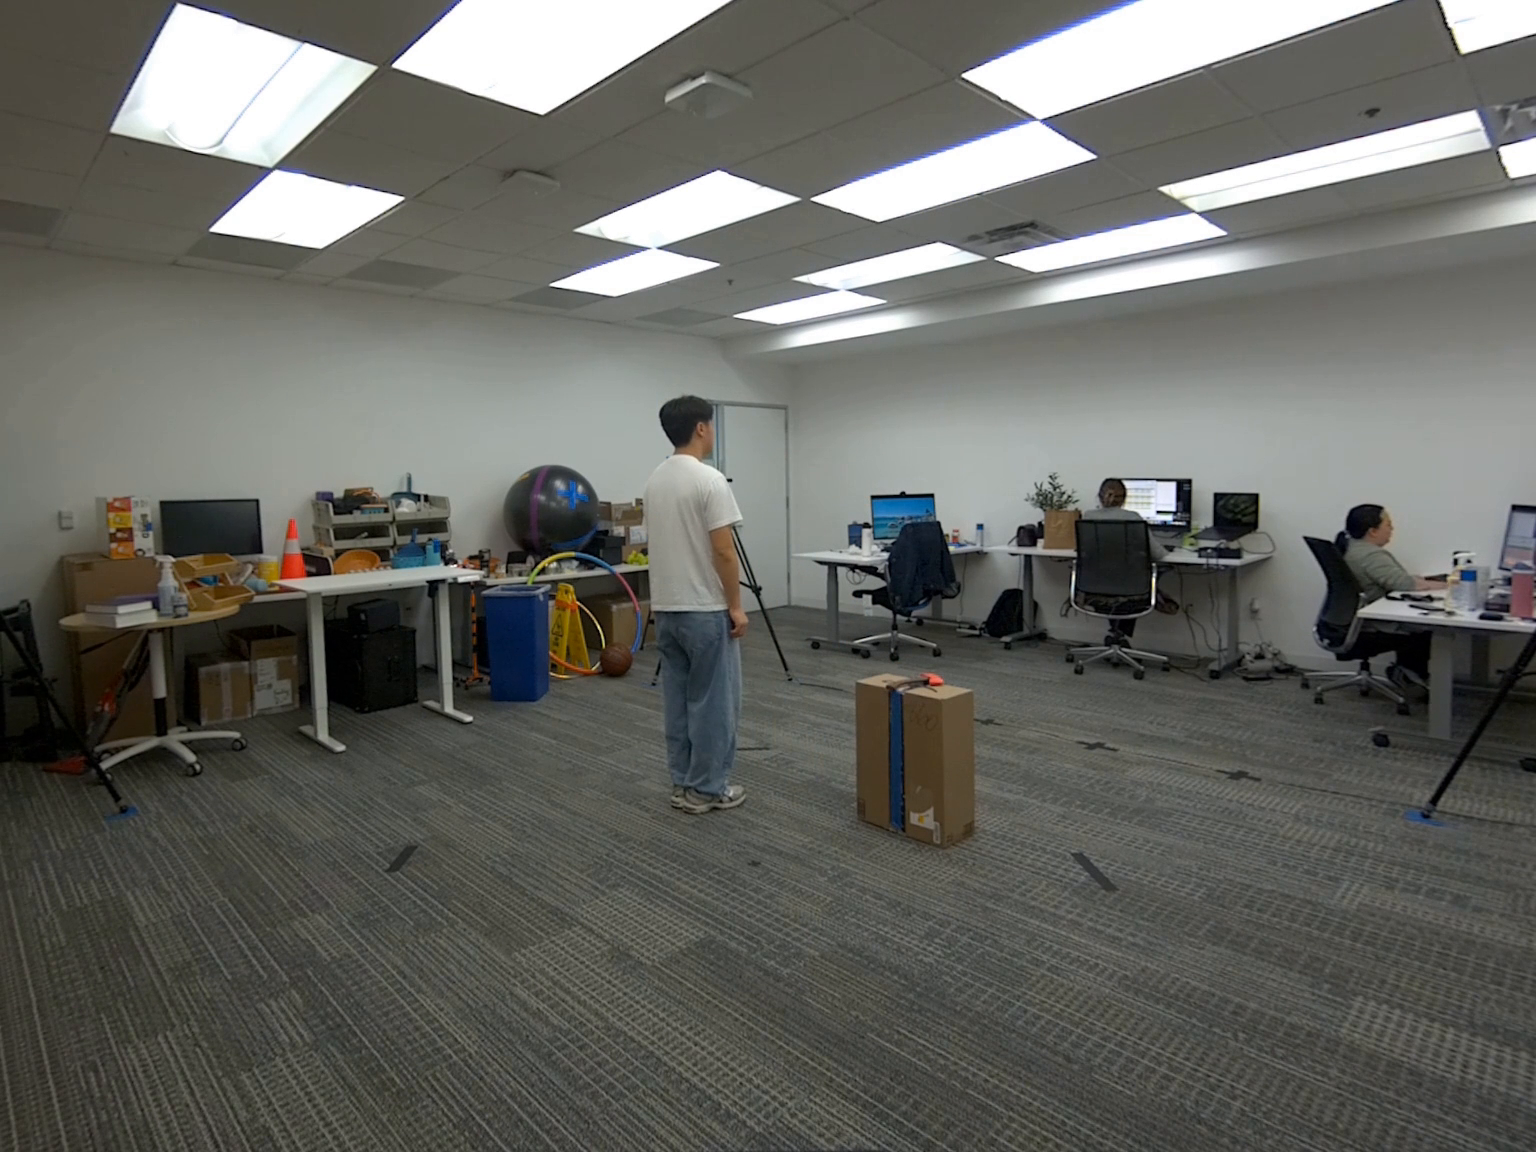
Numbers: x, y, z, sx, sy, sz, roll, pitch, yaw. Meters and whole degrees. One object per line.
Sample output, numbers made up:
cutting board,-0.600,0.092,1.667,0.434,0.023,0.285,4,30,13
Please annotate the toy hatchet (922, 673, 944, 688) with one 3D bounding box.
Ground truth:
toy hatchet,0.589,0.424,3.379,0.135,0.029,0.263,11,14,43
